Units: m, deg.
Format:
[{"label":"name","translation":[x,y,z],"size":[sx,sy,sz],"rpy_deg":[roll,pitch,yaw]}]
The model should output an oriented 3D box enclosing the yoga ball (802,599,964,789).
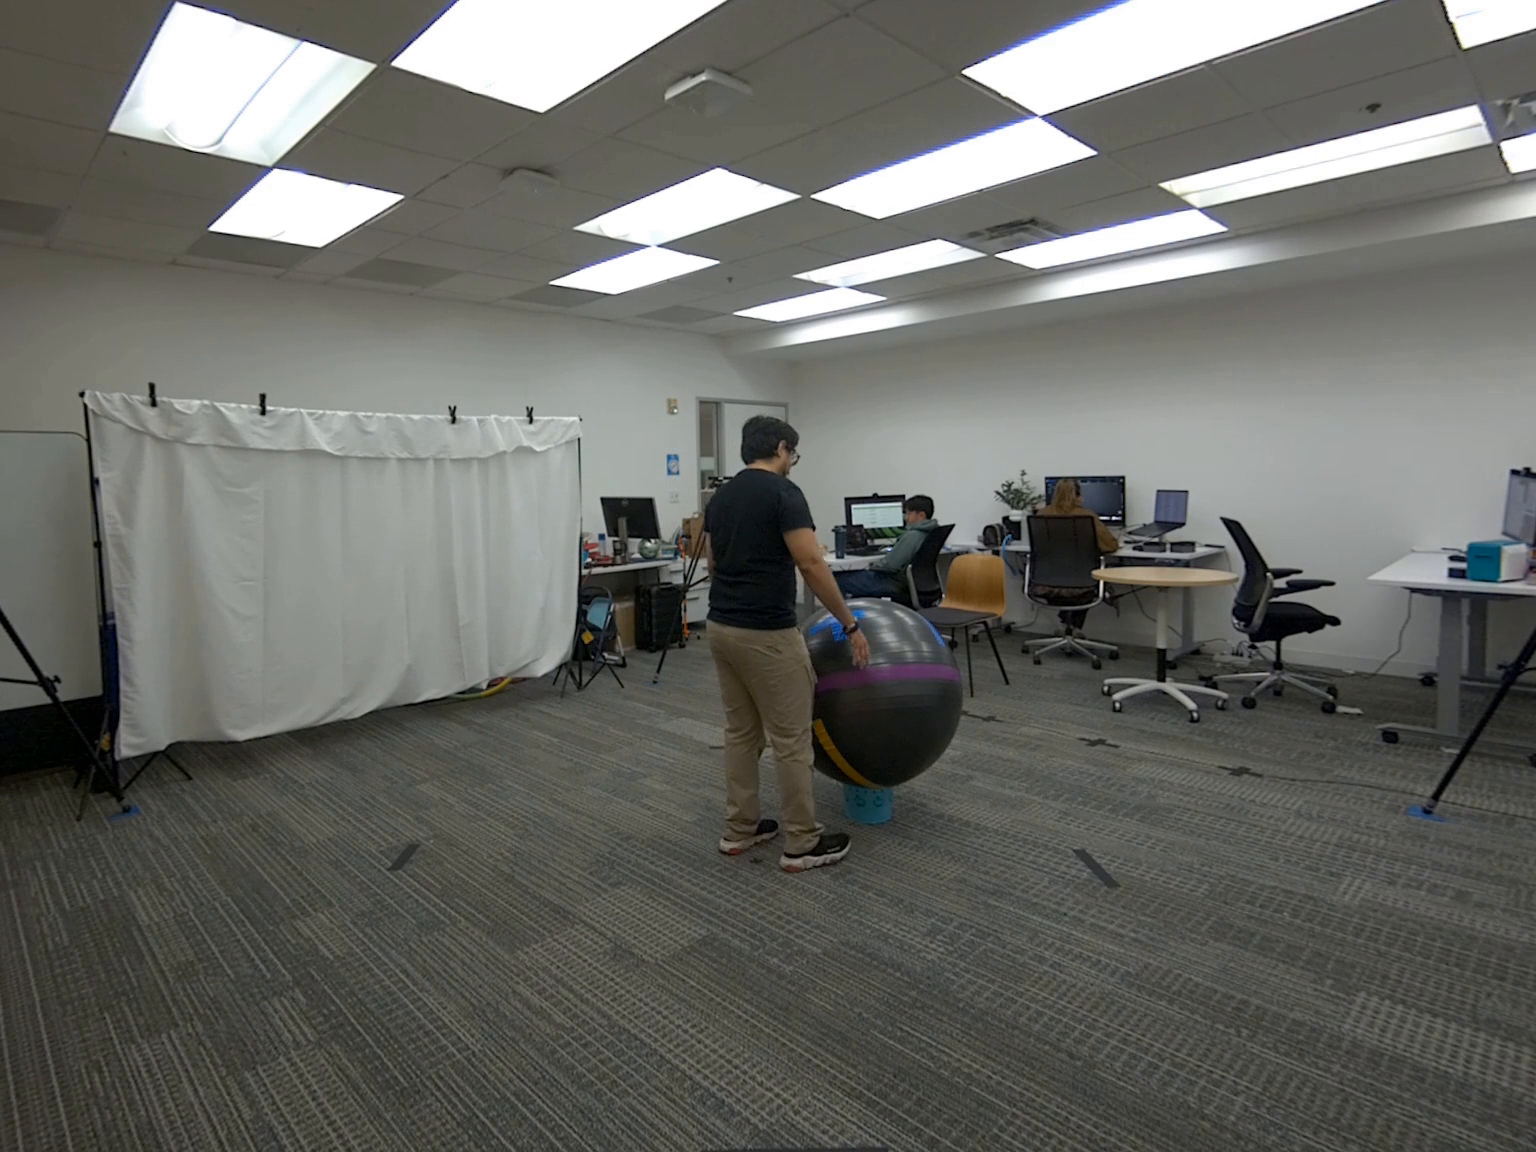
[{"label":"yoga ball","translation":[0.407,0.476,3.508],"size":[0.757,0.755,0.762],"rpy_deg":[-1,5,-2]}]
